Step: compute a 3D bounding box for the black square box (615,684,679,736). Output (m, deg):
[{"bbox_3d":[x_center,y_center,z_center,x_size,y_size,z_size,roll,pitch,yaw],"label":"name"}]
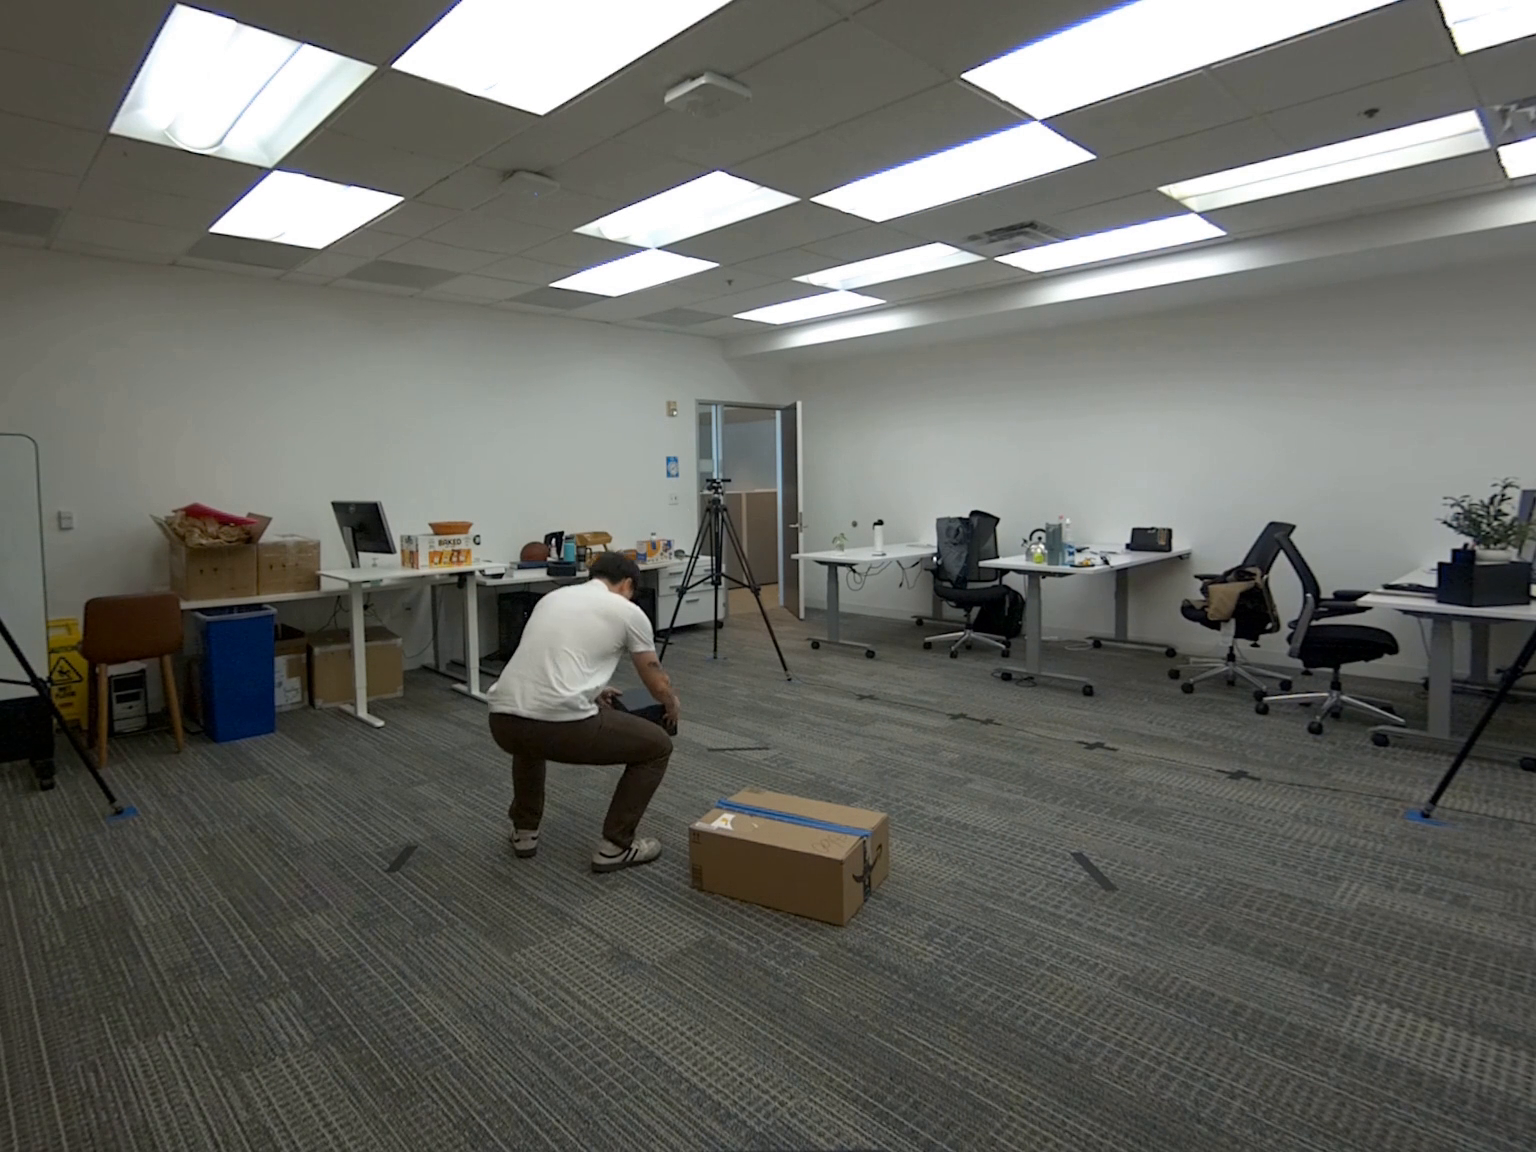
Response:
[{"bbox_3d":[-0.530,0.580,3.658,0.212,0.154,0.235,-7,14,-28],"label":"black square box"}]
